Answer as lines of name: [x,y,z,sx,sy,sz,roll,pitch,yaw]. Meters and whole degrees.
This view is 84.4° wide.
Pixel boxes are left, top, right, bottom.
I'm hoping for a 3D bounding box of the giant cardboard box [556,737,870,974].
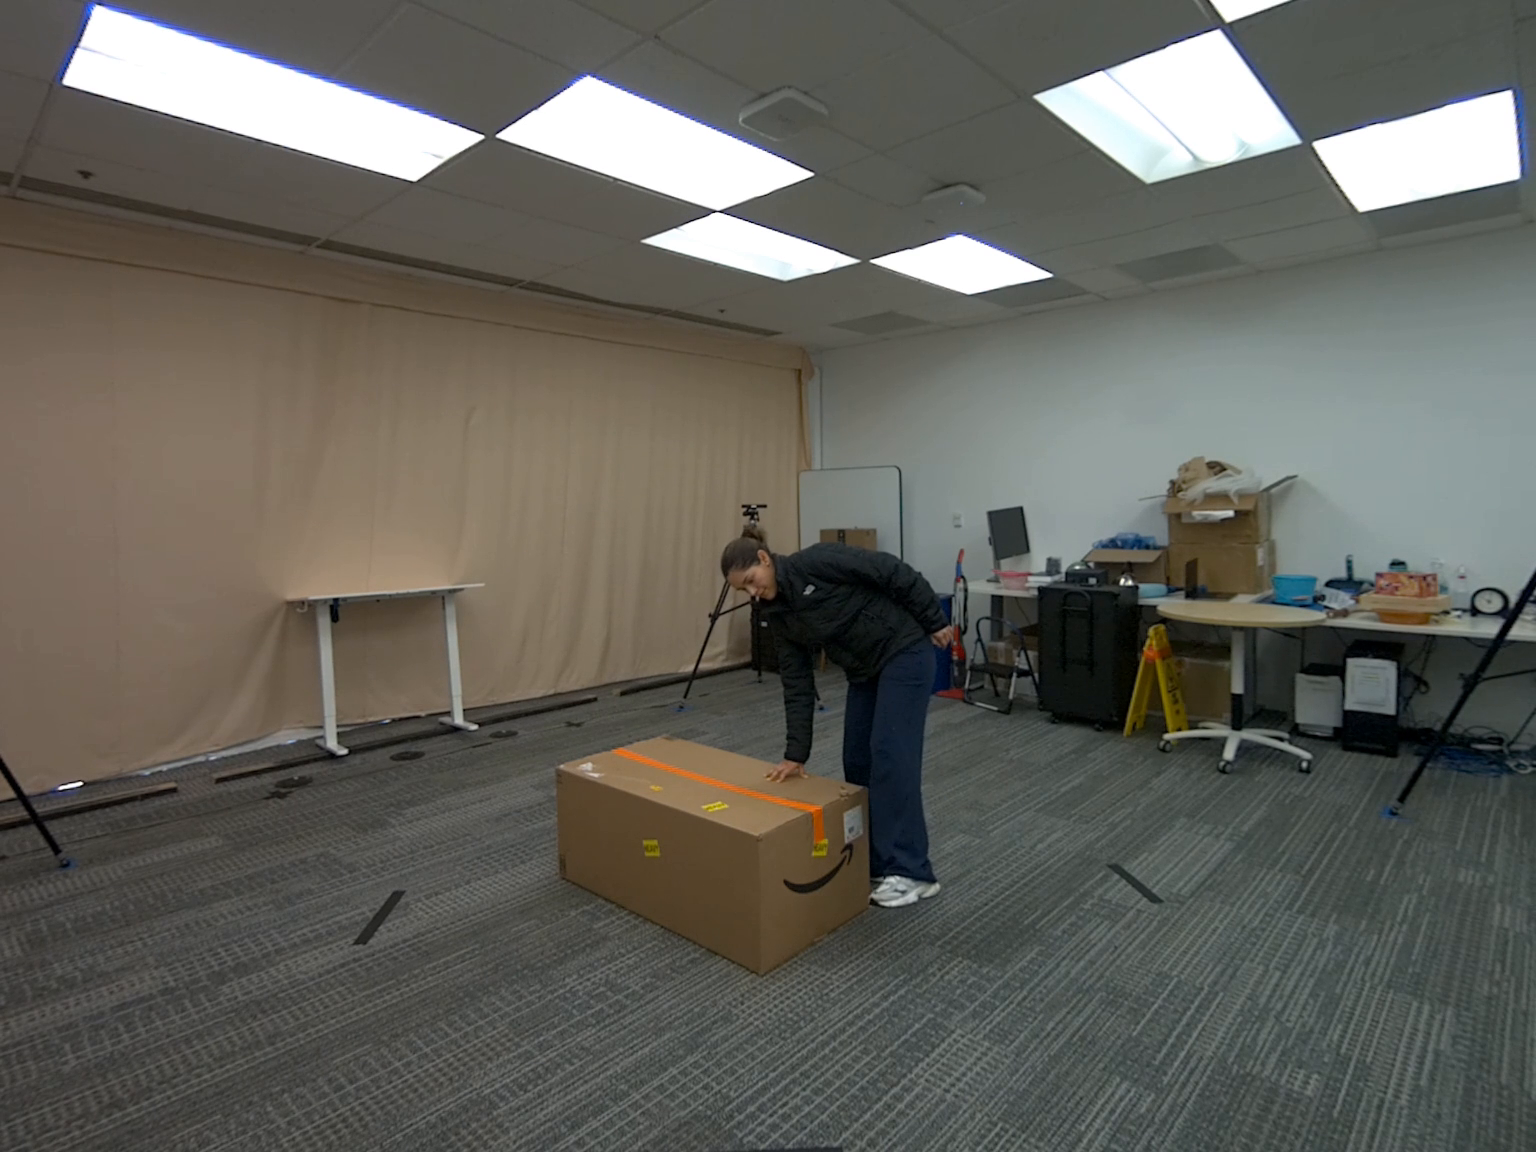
giant cardboard box: [-0.213,0.931,3.032,1.061,0.446,0.566,2,4,42]
